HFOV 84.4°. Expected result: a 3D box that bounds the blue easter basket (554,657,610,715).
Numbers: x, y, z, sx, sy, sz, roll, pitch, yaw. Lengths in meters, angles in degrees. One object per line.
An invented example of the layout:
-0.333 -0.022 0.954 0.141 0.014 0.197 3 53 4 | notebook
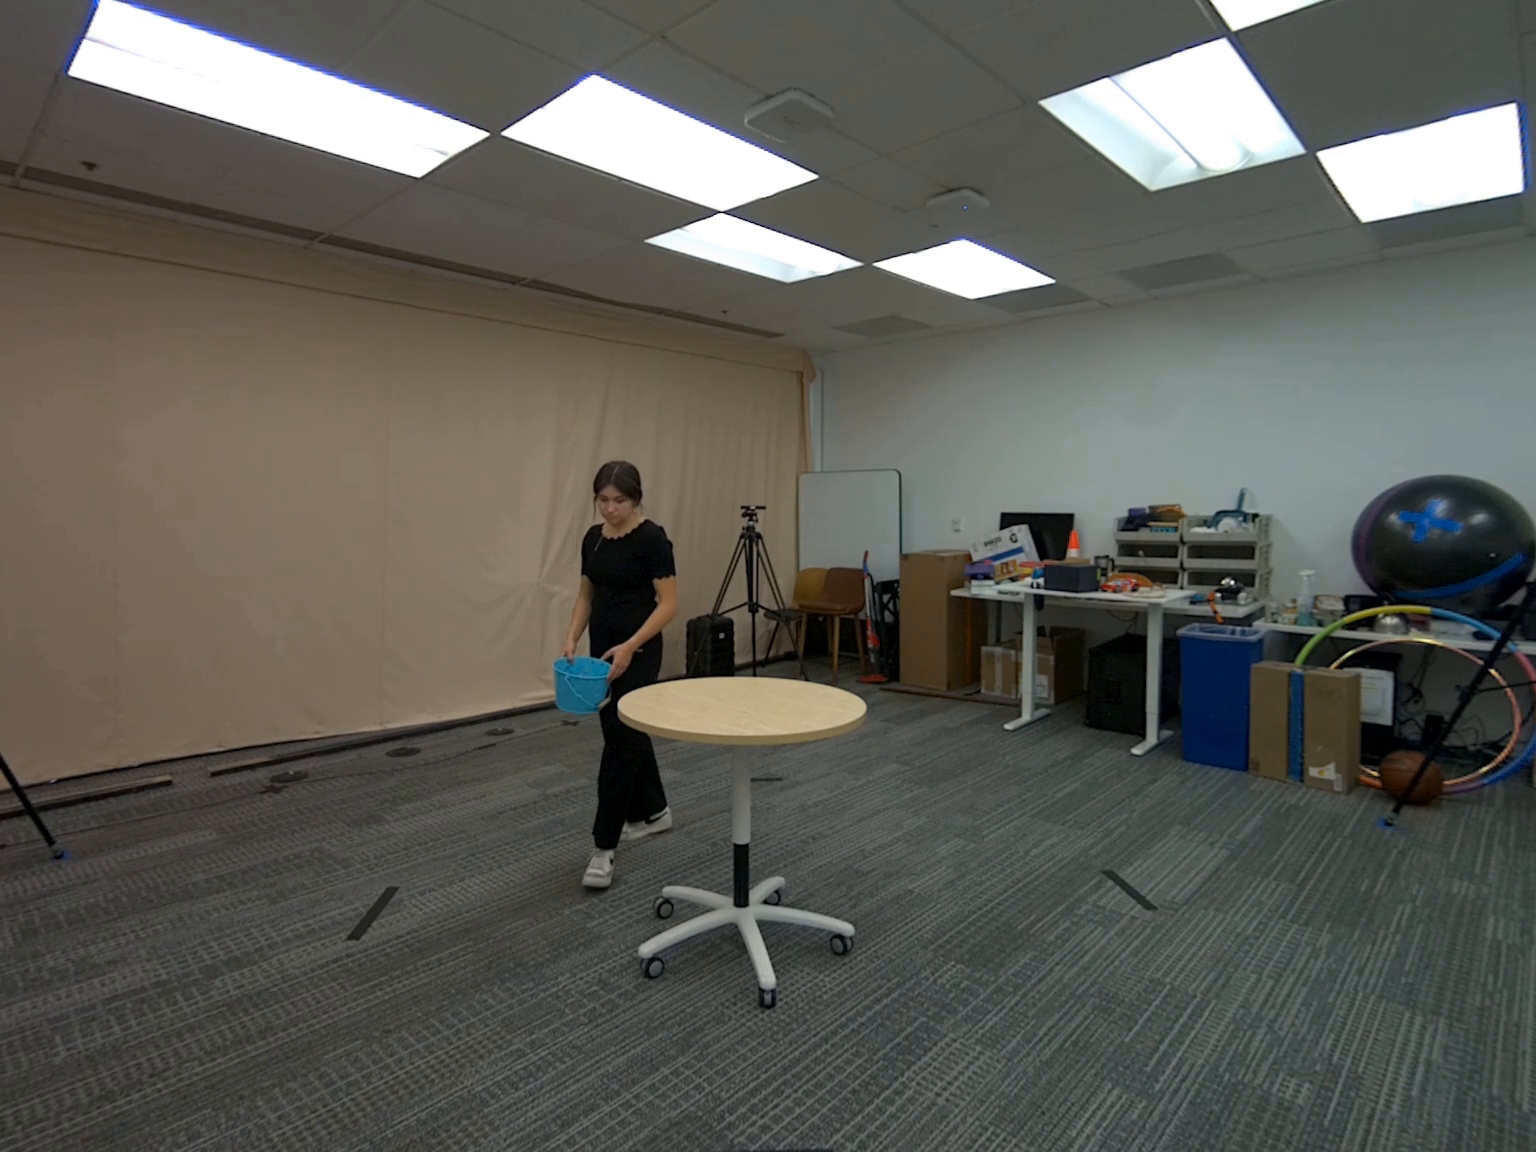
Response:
-0.697 0.421 3.211 0.243 0.155 0.245 7 10 -3 | blue easter basket
